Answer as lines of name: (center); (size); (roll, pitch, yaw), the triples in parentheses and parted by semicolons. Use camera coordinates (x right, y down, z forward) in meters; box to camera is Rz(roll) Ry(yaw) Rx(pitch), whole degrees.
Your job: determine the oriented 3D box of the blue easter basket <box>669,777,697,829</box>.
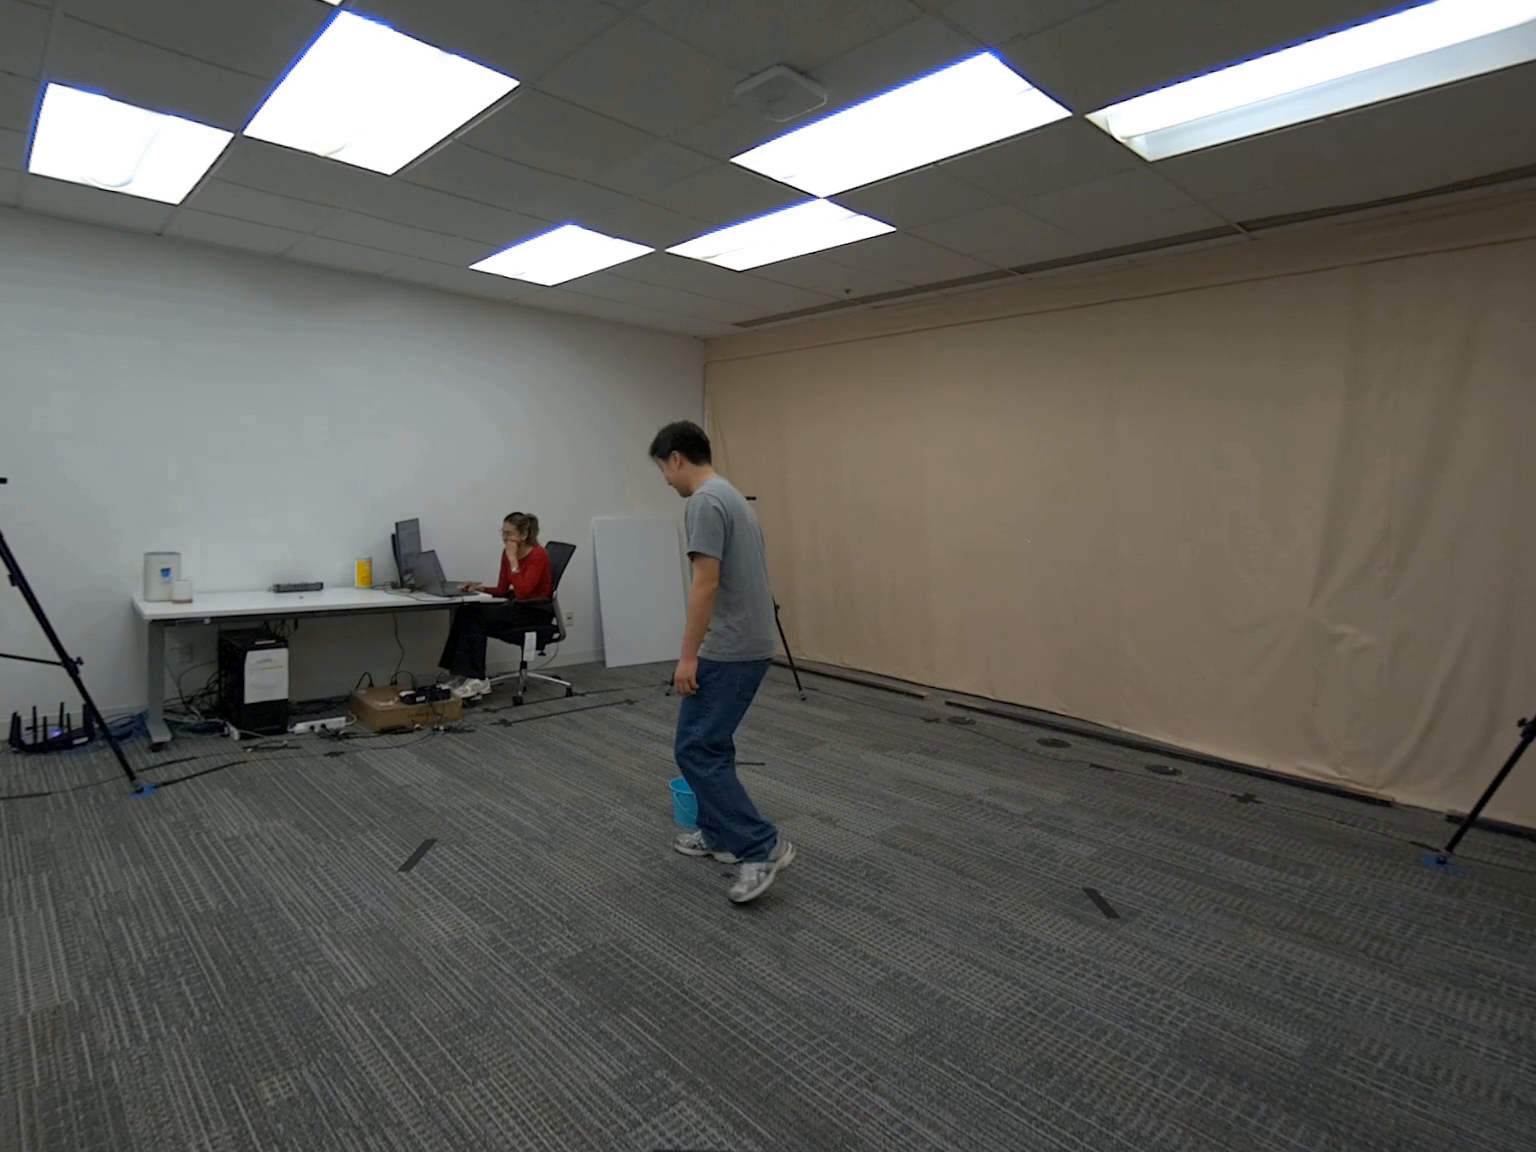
blue easter basket: (-0.322, 0.980, 3.639); (0.243, 0.155, 0.244); (2, 4, -1)
